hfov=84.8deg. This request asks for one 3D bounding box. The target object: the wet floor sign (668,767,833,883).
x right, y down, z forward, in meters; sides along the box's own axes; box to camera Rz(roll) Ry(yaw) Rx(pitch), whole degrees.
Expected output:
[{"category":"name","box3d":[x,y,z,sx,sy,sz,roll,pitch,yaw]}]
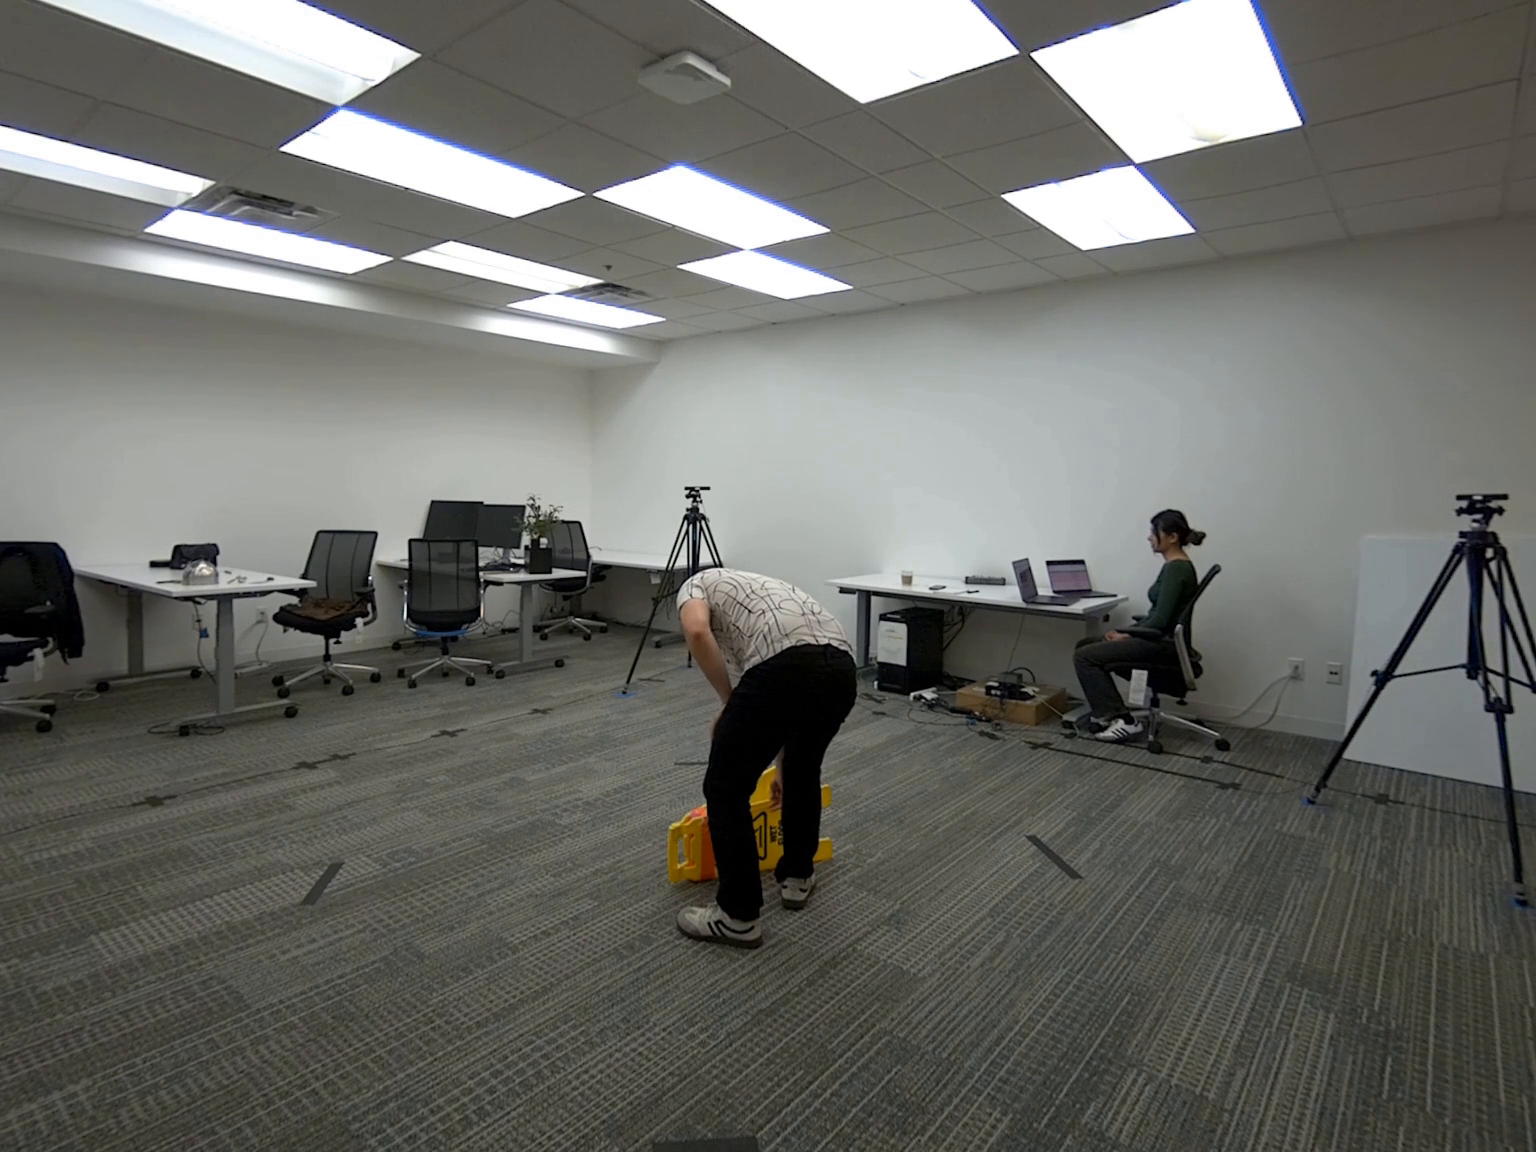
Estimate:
[{"category":"wet floor sign","box3d":[-0.105,0.934,3.130,0.628,0.281,0.299,-6,7,-39]}]
